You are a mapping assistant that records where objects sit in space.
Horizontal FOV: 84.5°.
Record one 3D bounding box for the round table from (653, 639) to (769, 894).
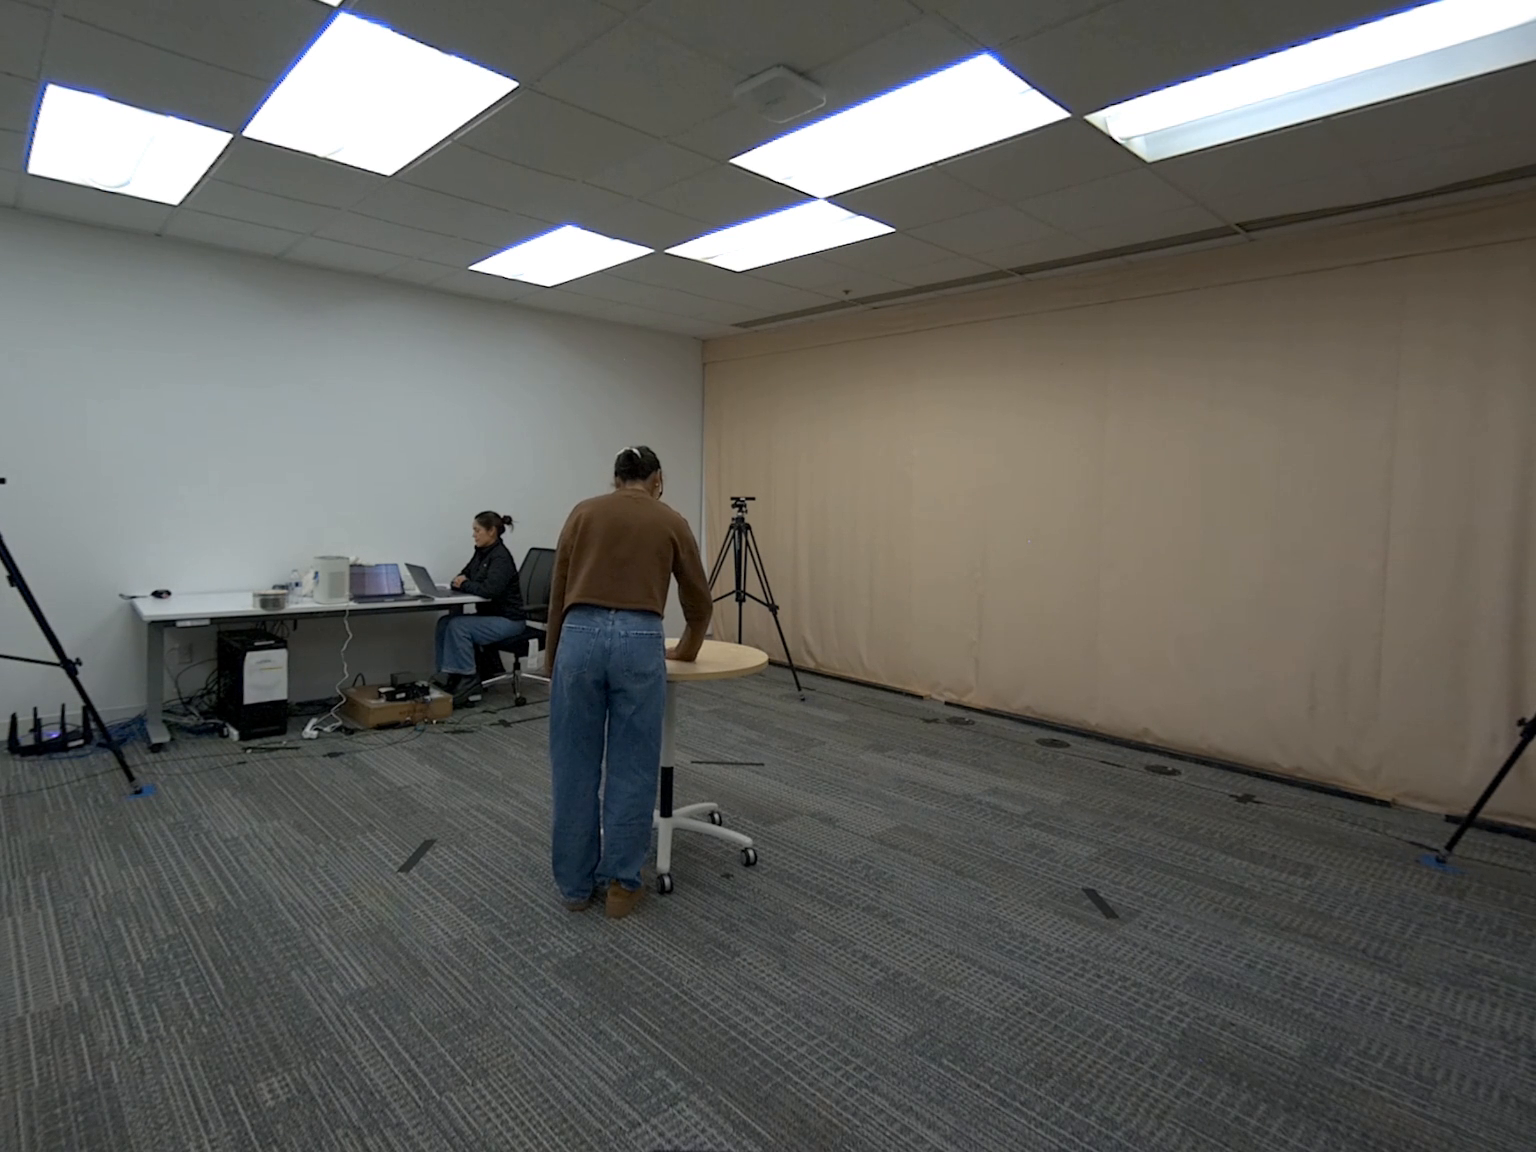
[{"bbox_3d":[-0.398,0.699,3.296,0.763,0.792,0.766,1,4,-1],"label":"round table"}]
